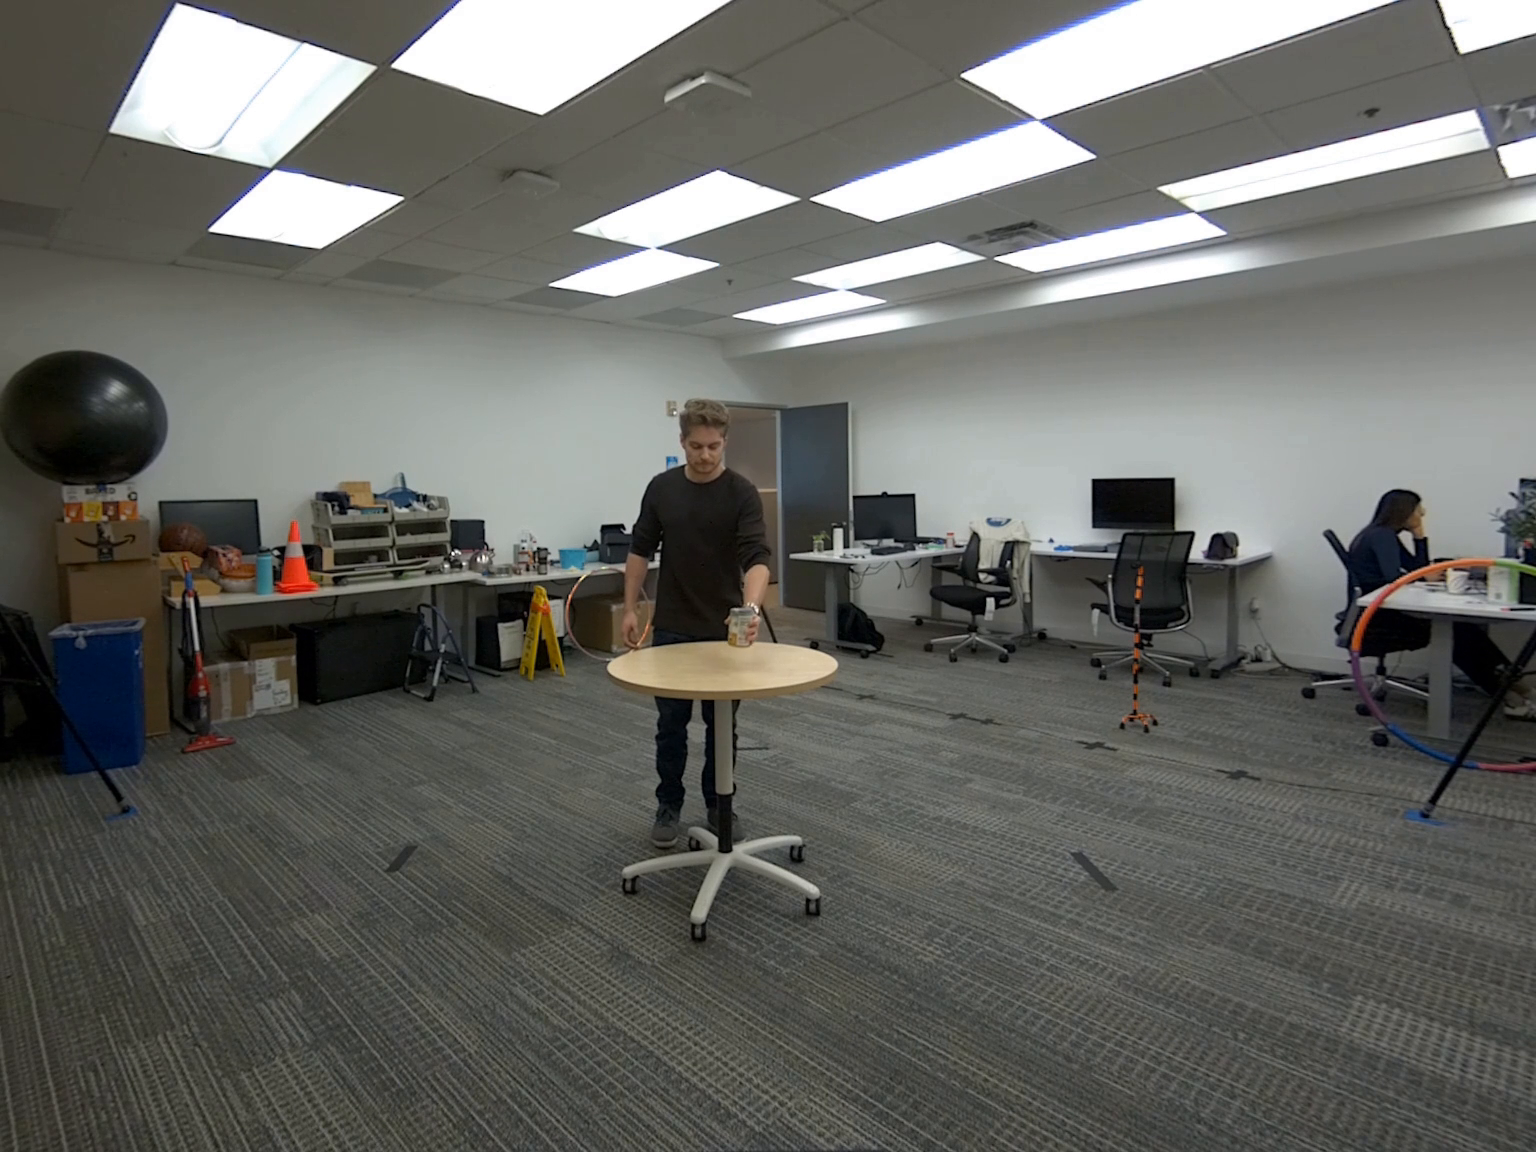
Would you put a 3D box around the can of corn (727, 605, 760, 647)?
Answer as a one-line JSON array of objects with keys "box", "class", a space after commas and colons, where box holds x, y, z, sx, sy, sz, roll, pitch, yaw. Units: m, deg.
[{"box": [-0.085, 0.168, 2.741, 0.074, 0.110, 0.075, 4, 6, -2], "class": "can of corn"}]
